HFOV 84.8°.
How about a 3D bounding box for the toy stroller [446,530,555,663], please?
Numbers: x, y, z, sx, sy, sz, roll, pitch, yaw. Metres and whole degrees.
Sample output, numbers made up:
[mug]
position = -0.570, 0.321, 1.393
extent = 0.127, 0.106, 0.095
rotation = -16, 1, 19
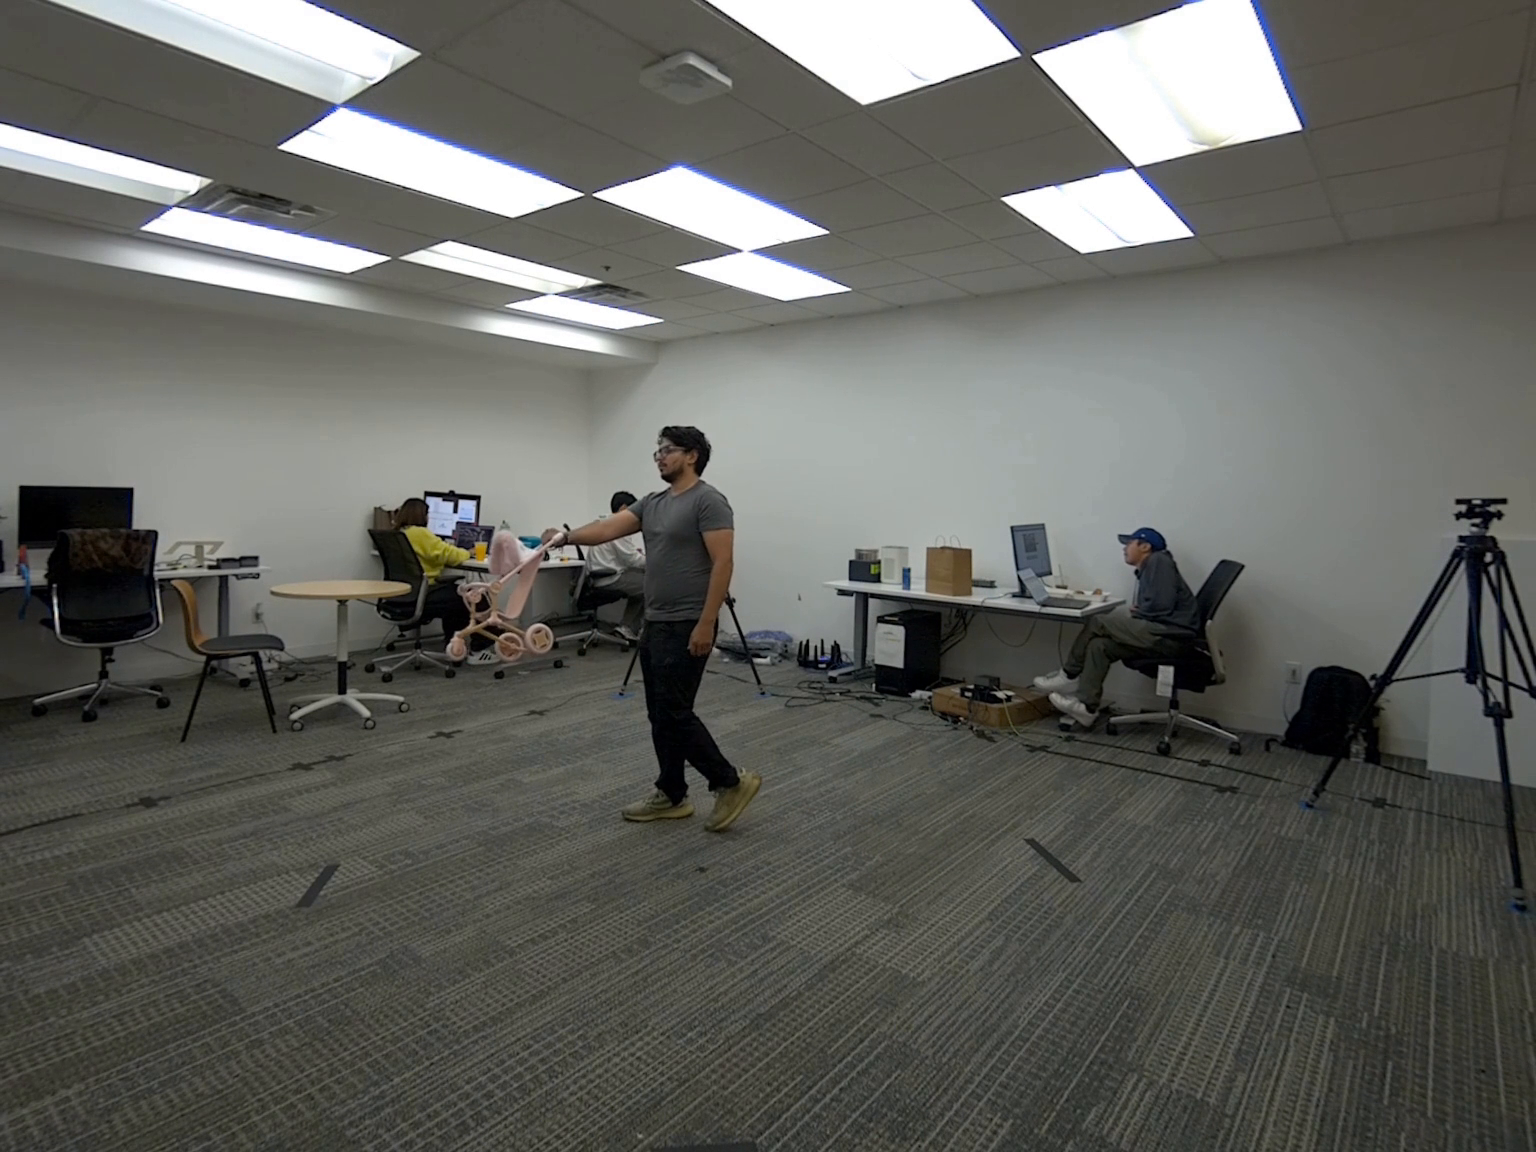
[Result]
[toy stroller]
position = -0.968, 0.072, 3.093
extent = 0.330, 0.543, 0.287
rotation = 16, -21, -31
